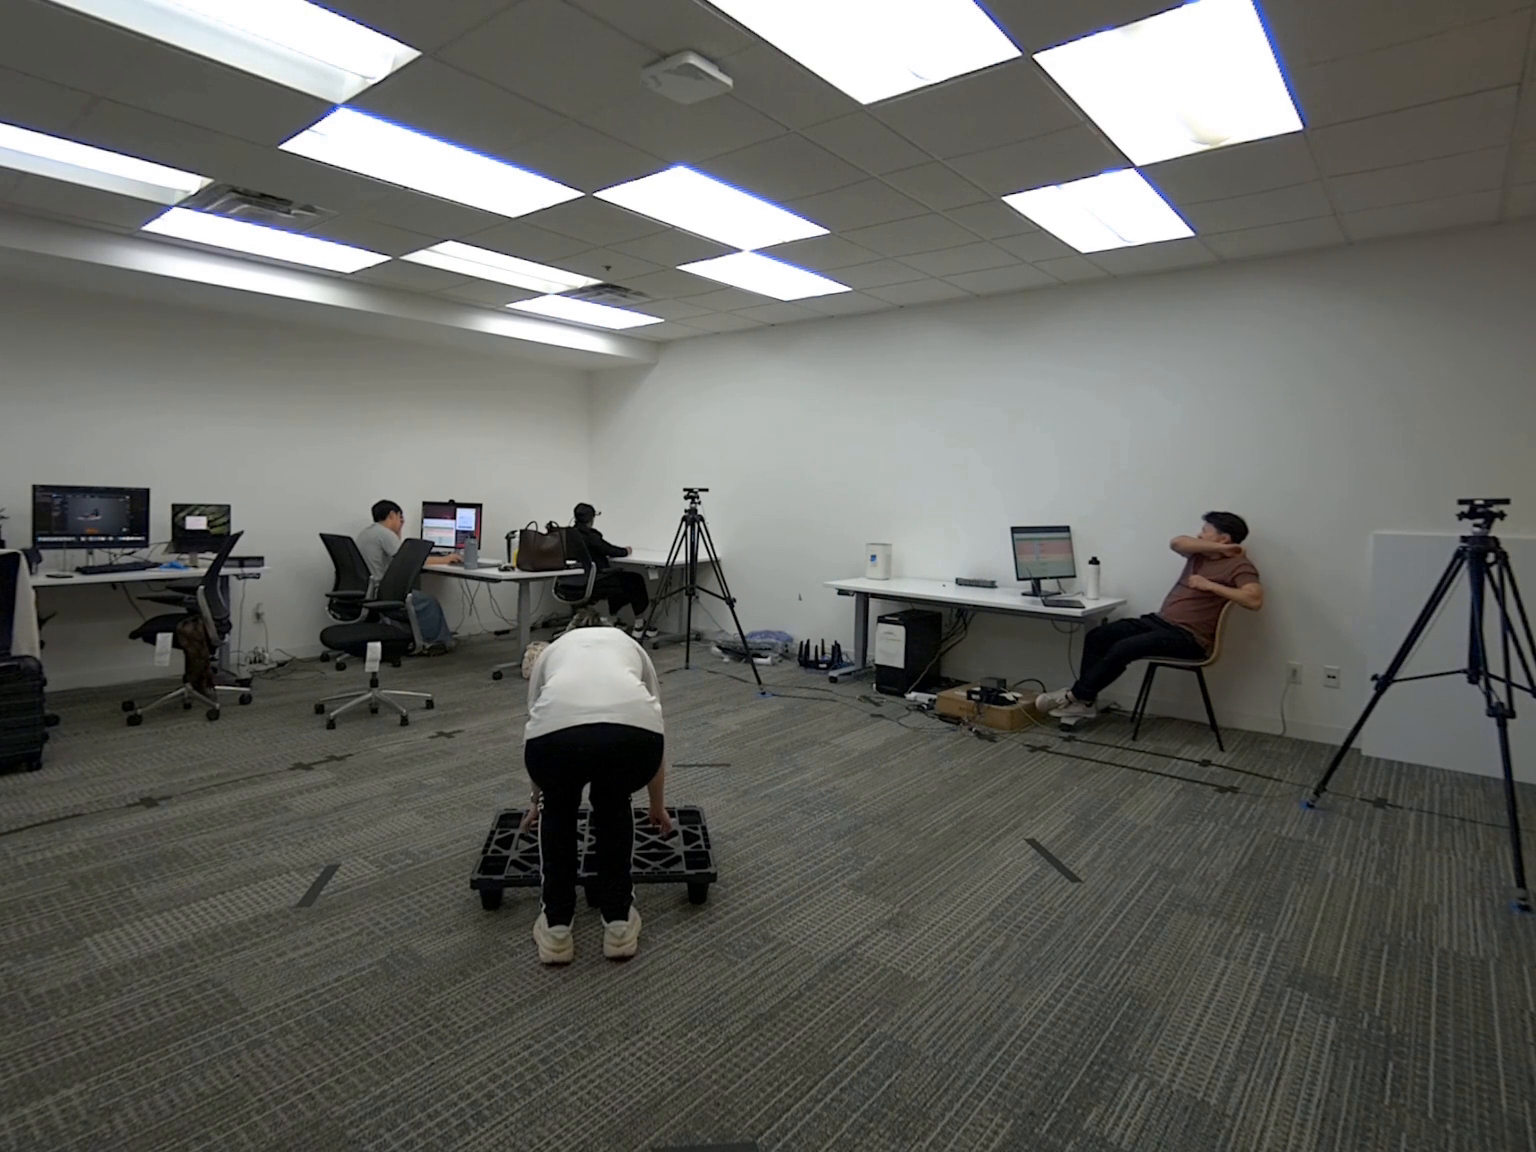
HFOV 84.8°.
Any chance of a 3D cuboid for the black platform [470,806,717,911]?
[{"bbox_3d":[-0.610,0.998,3.039,0.800,0.143,0.612,0,6,-7],"label":"black platform"}]
